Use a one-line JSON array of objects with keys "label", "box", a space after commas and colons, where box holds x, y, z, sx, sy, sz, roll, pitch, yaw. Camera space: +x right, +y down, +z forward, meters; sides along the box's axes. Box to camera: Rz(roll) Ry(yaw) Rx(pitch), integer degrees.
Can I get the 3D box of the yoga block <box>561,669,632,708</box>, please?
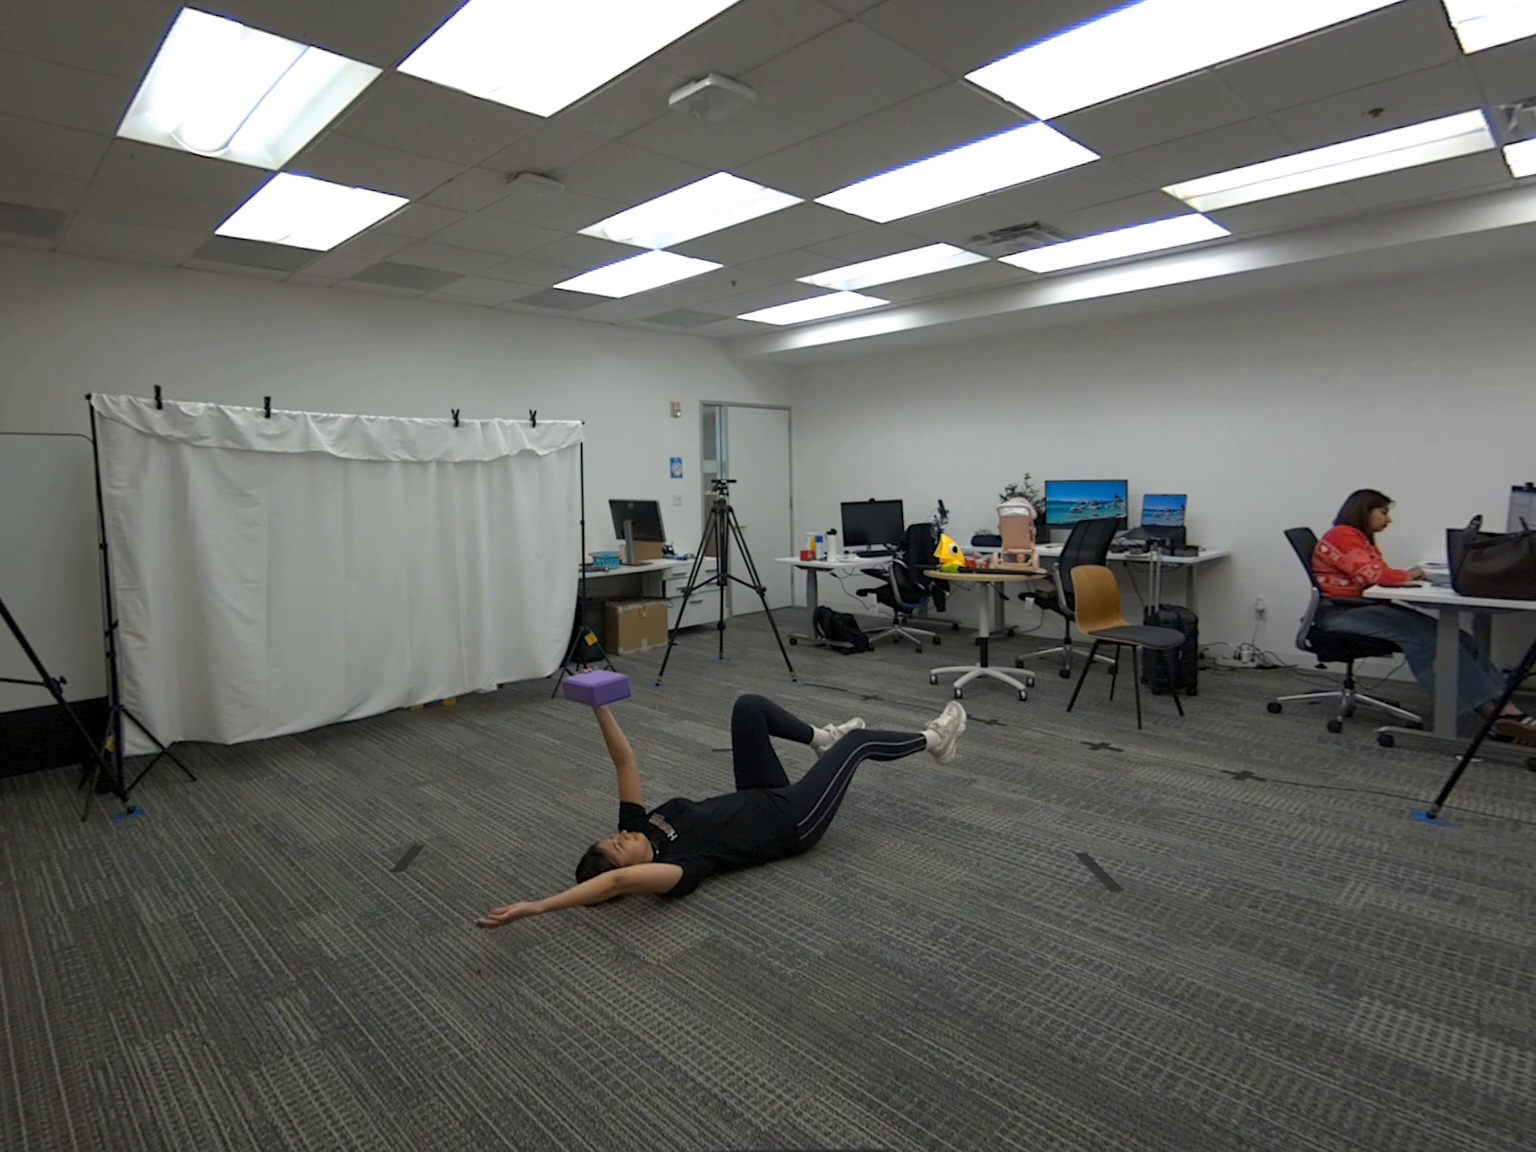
[{"label": "yoga block", "box": [-0.594, 0.384, 2.917, 0.146, 0.076, 0.235, -11, 7, -31]}]
